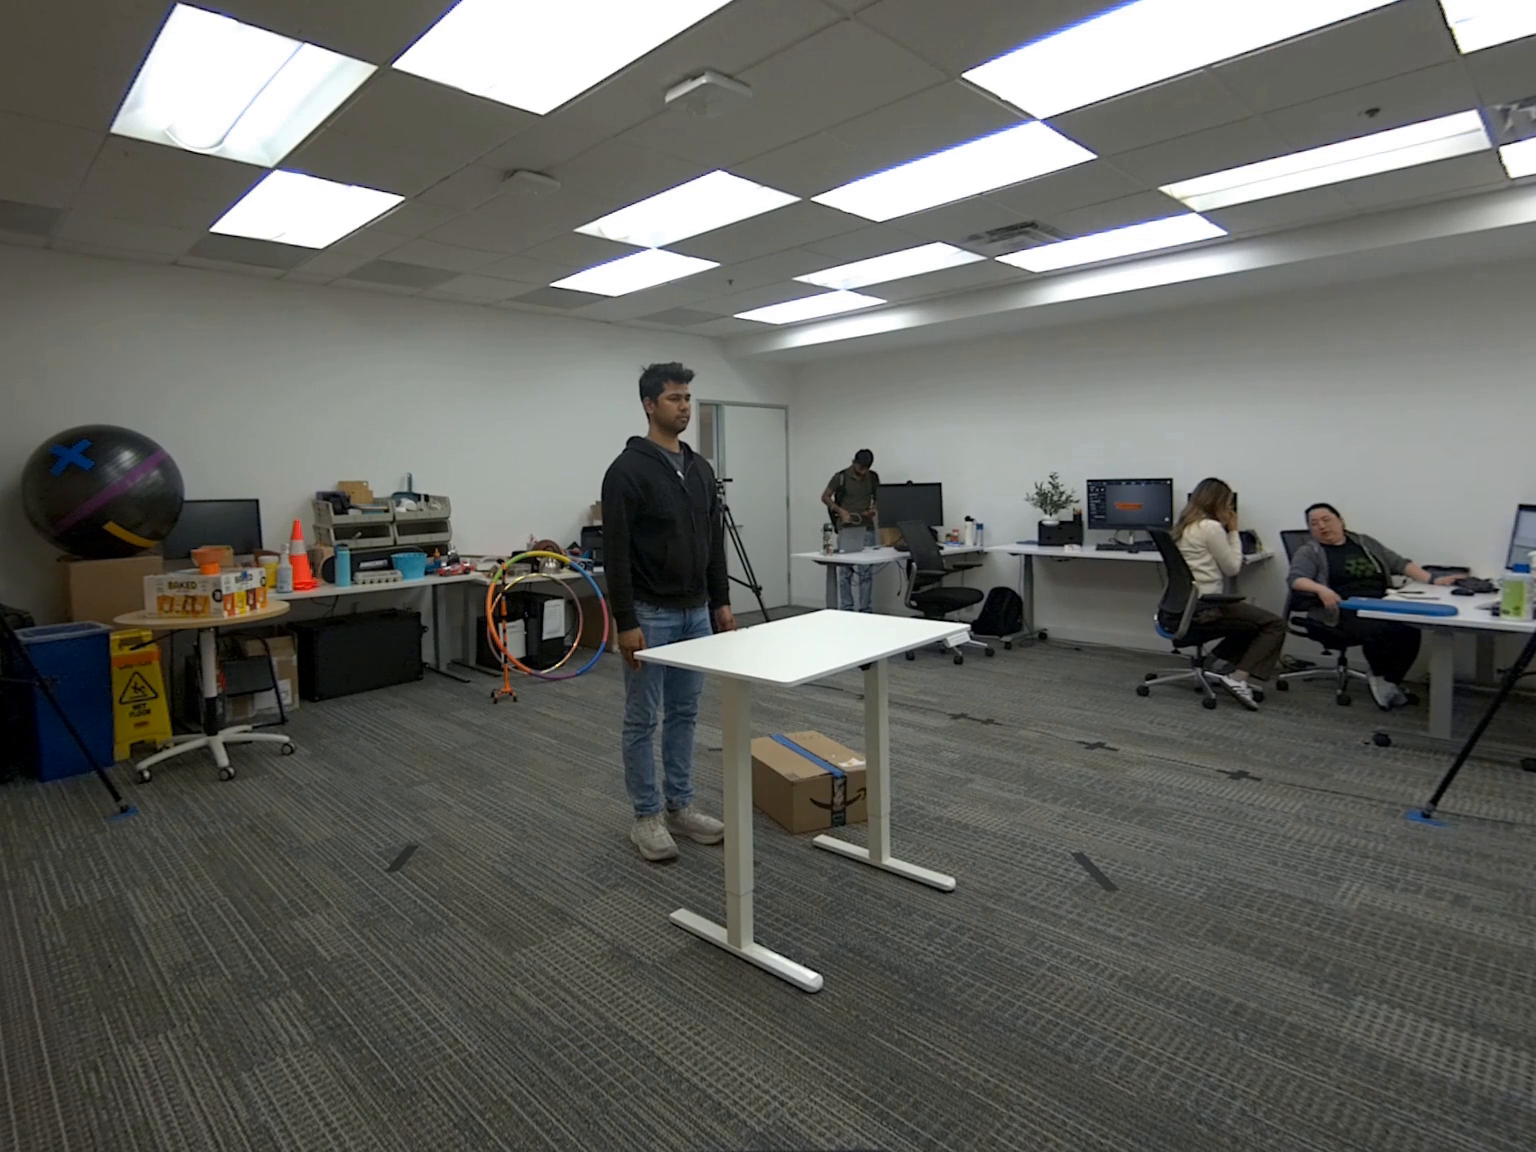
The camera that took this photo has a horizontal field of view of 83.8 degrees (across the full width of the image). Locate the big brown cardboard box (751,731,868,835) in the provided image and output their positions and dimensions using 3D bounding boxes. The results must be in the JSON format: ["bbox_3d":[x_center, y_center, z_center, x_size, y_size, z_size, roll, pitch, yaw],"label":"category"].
[{"bbox_3d":[0.159,0.866,3.670,0.409,0.232,0.604,-4,6,-25],"label":"big brown cardboard box"}]
